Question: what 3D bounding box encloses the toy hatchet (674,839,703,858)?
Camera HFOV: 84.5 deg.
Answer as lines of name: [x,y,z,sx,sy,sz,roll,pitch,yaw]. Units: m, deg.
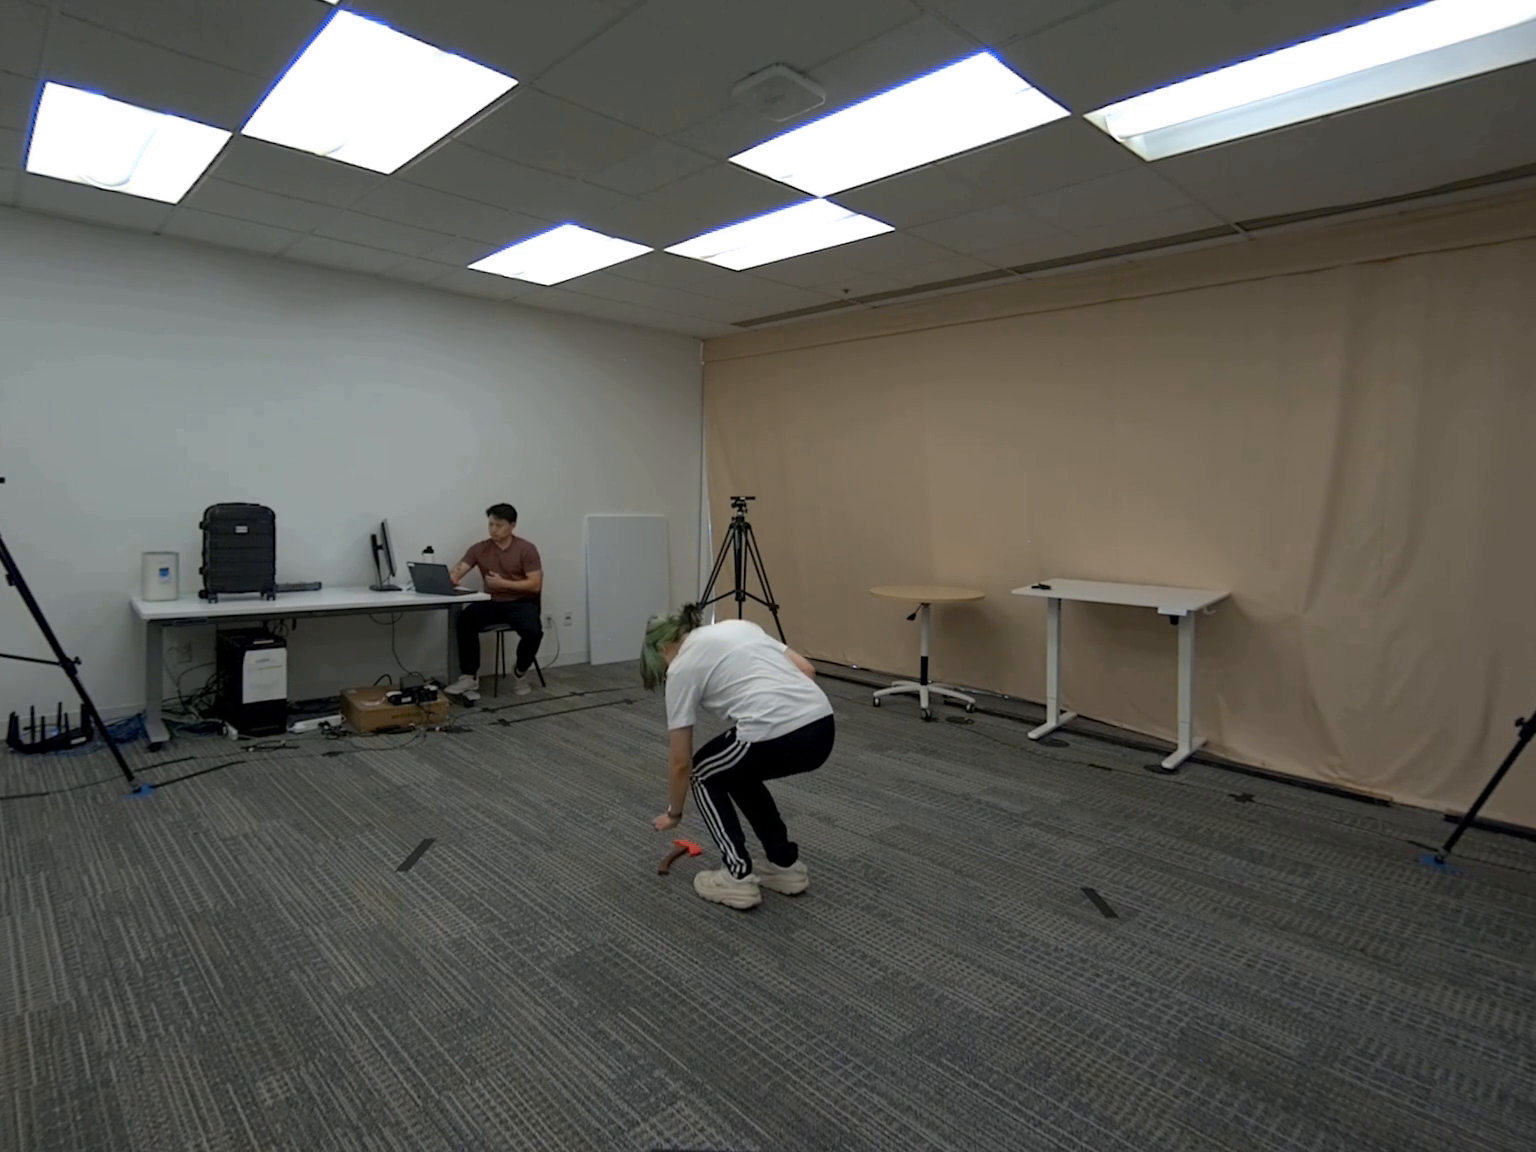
toy hatchet: [-0.338,1.084,3.214,0.132,0.029,0.269,6,9,7]
